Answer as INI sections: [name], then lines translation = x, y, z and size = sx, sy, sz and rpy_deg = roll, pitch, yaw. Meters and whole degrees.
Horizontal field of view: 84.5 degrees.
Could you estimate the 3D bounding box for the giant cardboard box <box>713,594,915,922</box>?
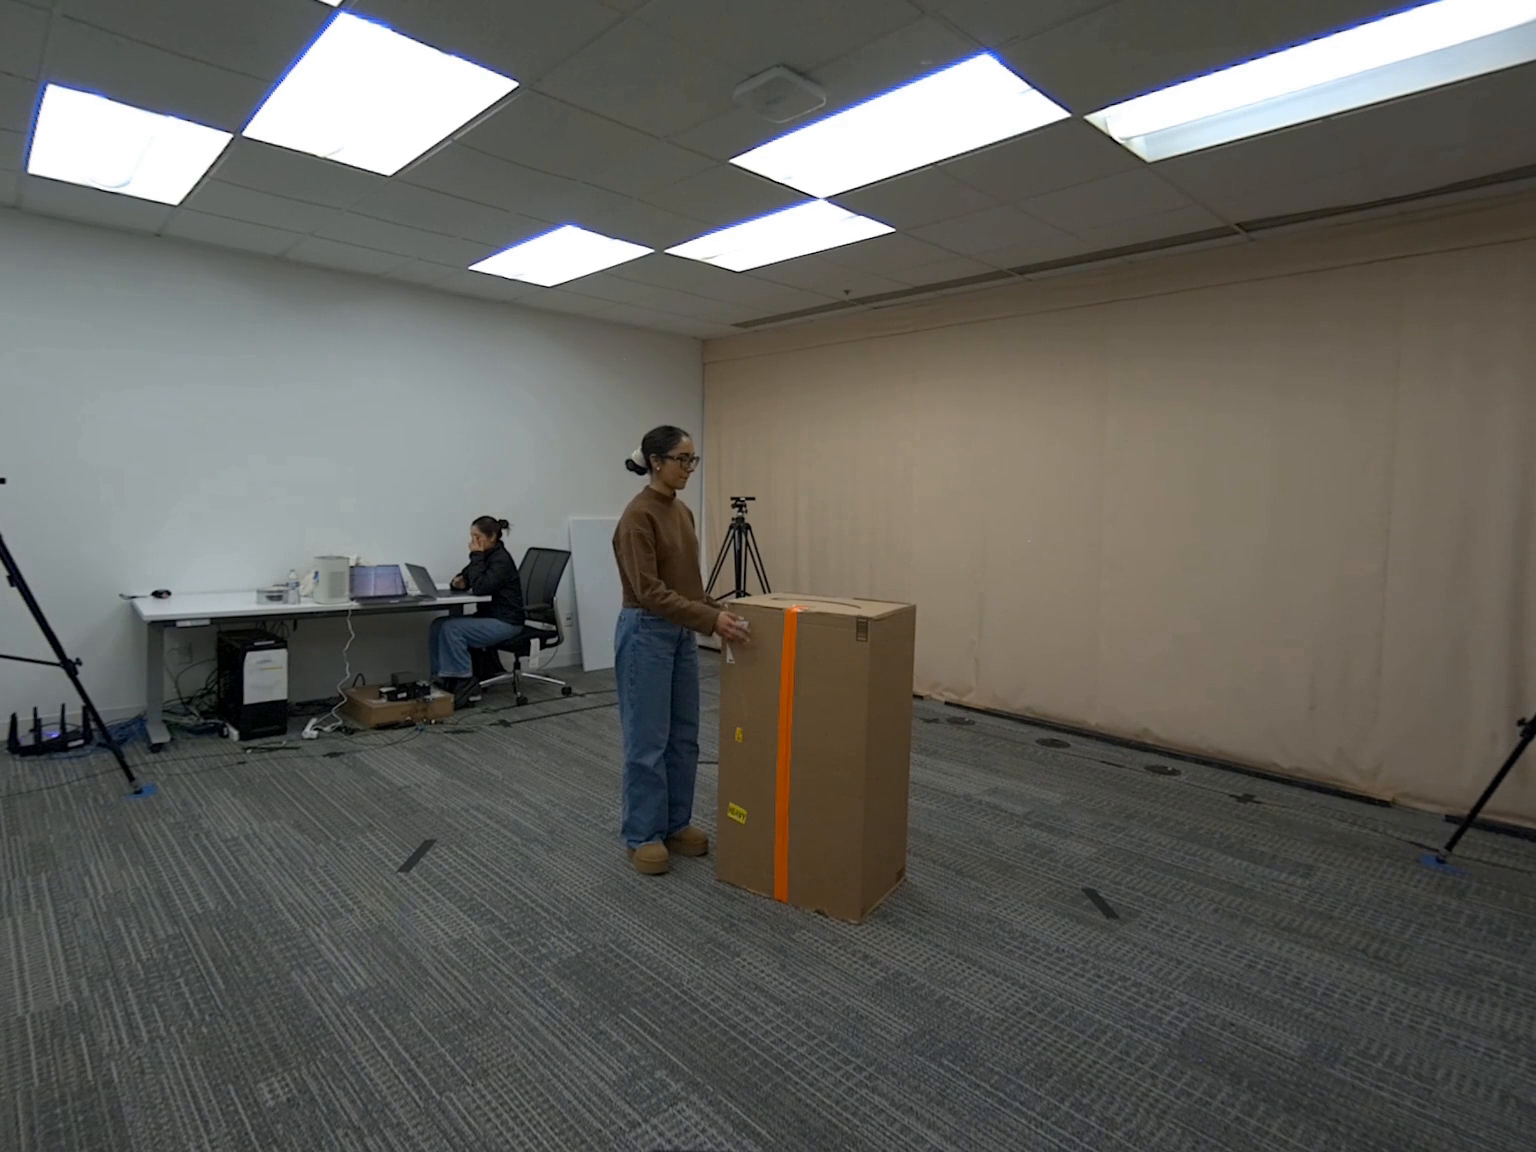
[giant cardboard box]
translation = 0.170, 0.608, 3.055
size = 0.591, 1.023, 0.417
rpy_deg = 4, 4, 33
